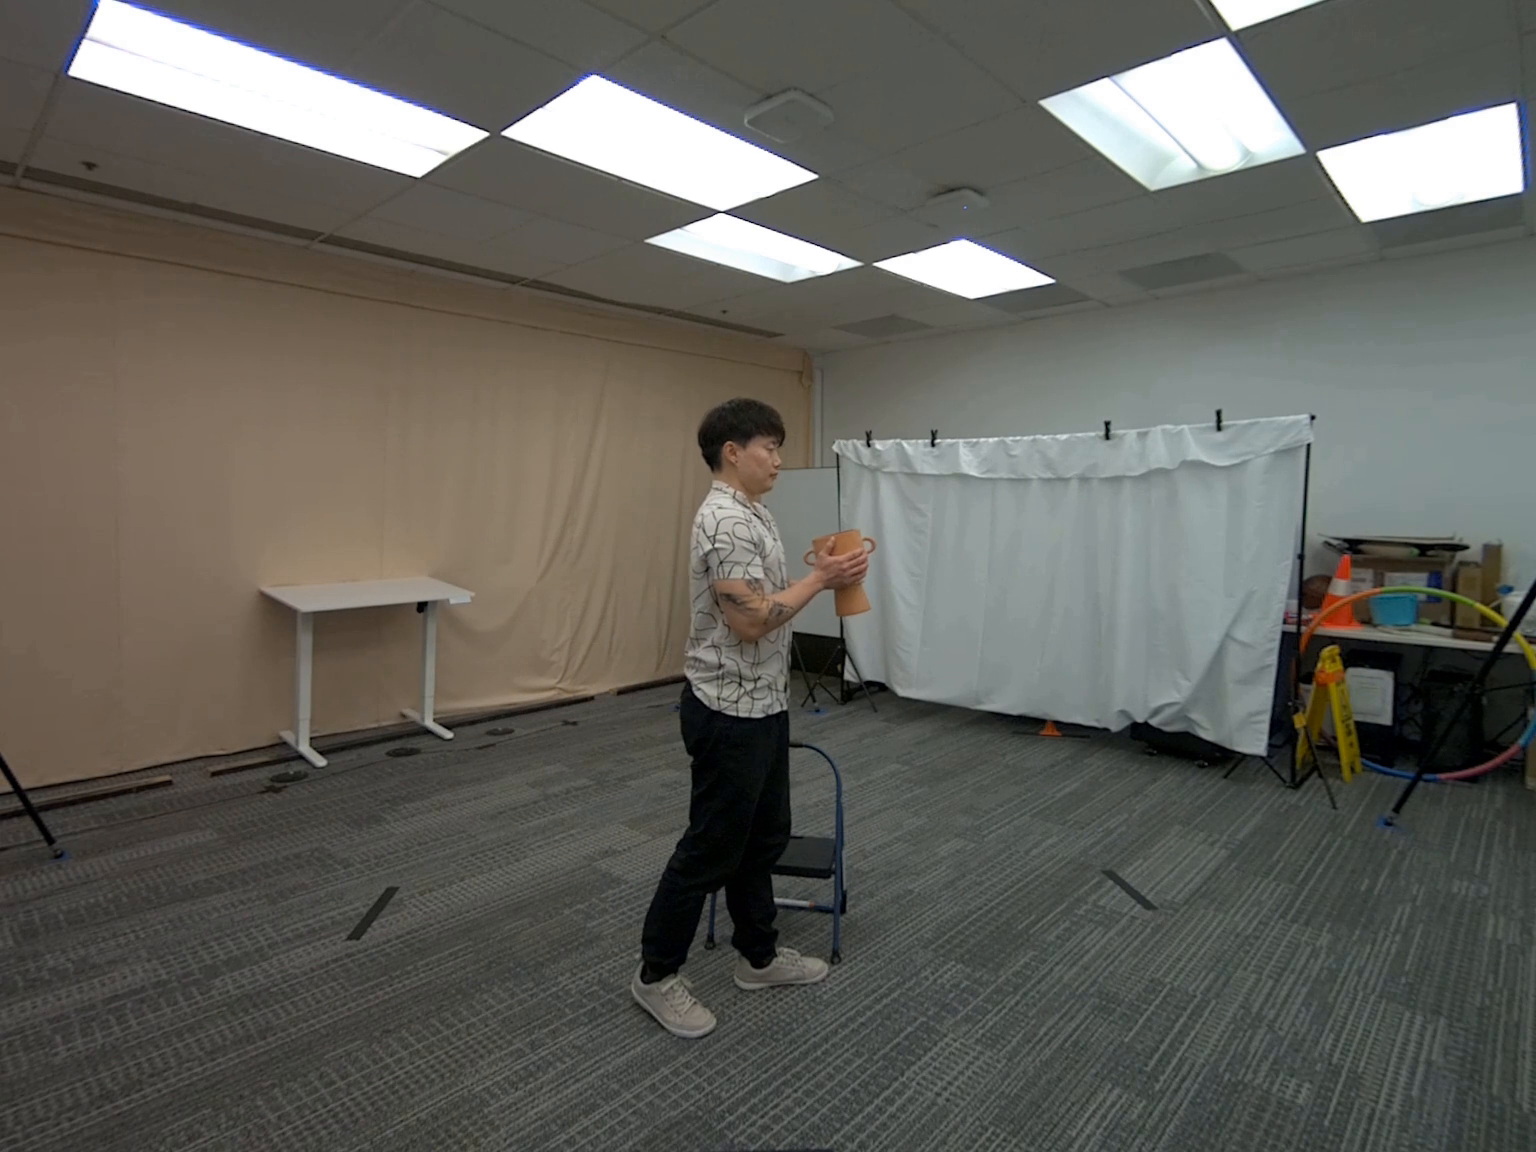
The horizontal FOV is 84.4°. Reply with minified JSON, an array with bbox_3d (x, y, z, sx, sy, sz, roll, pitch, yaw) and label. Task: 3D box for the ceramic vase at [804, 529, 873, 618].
[{"bbox_3d":[0.202,-0.007,2.286,0.163,0.219,0.131,-8,2,40],"label":"ceramic vase"}]
